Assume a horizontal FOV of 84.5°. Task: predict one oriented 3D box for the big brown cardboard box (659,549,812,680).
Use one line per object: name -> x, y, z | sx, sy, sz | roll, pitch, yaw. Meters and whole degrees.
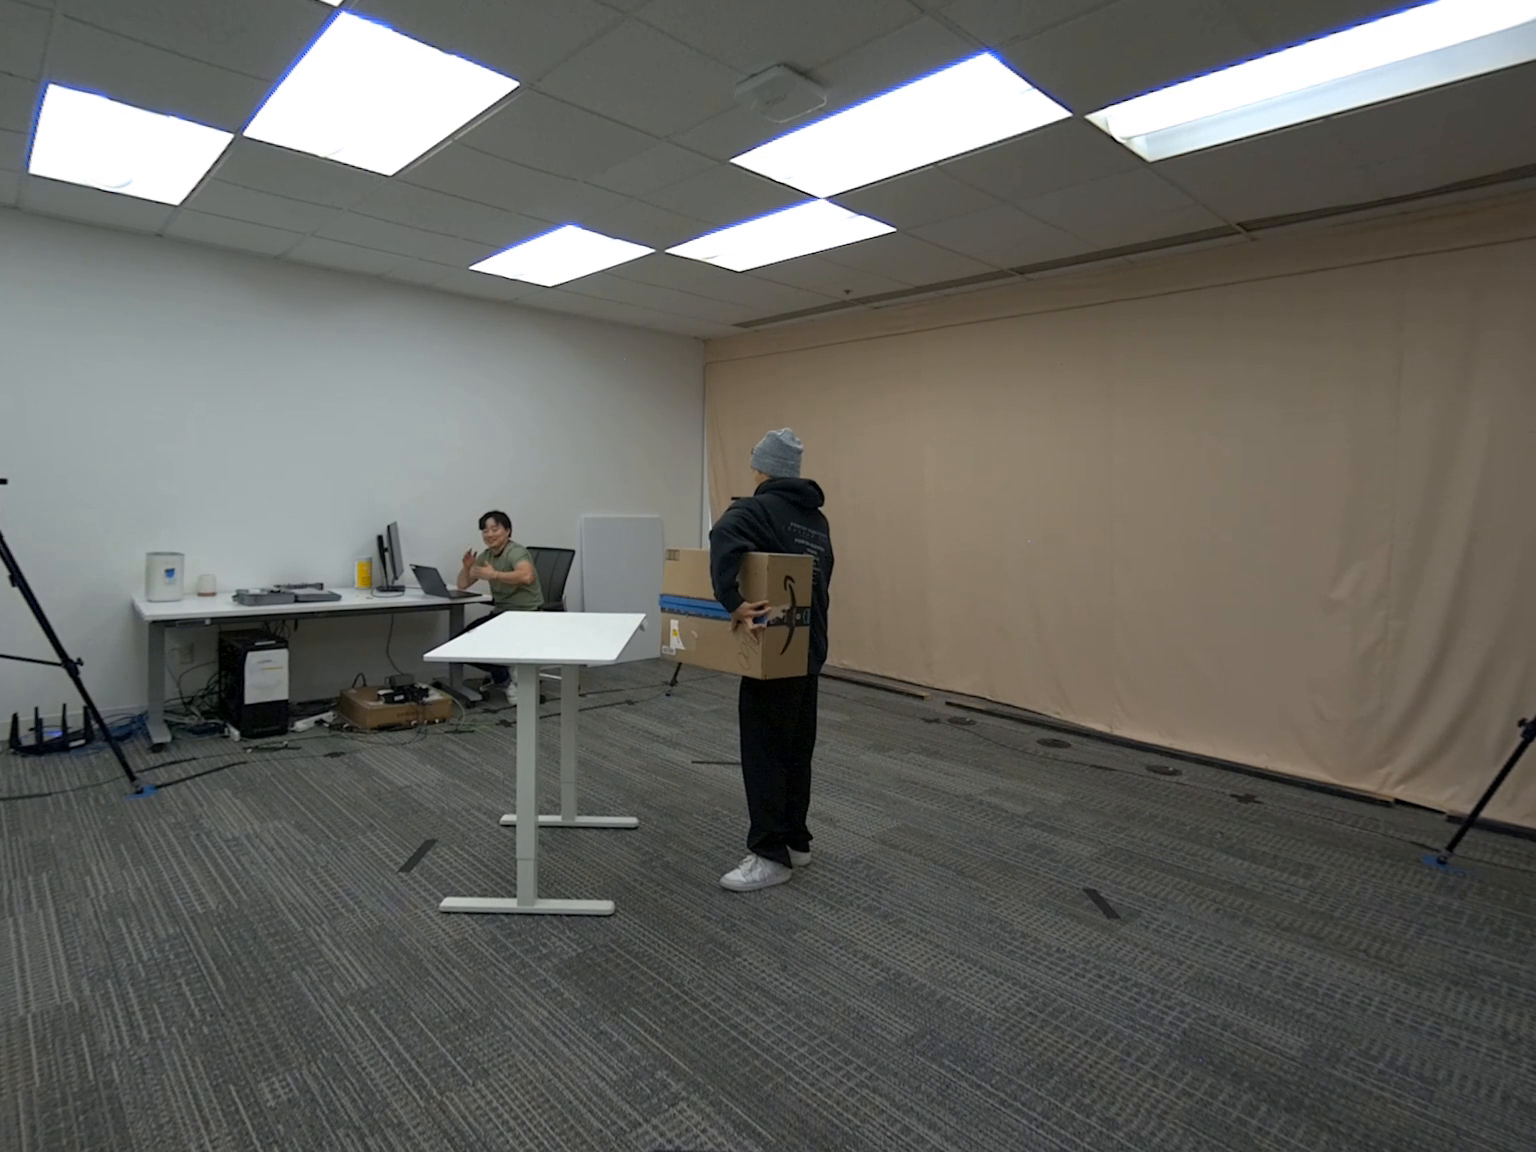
big brown cardboard box -> -0.137, 0.120, 3.029 | 0.227, 0.417, 0.604 | 2, 2, -43
